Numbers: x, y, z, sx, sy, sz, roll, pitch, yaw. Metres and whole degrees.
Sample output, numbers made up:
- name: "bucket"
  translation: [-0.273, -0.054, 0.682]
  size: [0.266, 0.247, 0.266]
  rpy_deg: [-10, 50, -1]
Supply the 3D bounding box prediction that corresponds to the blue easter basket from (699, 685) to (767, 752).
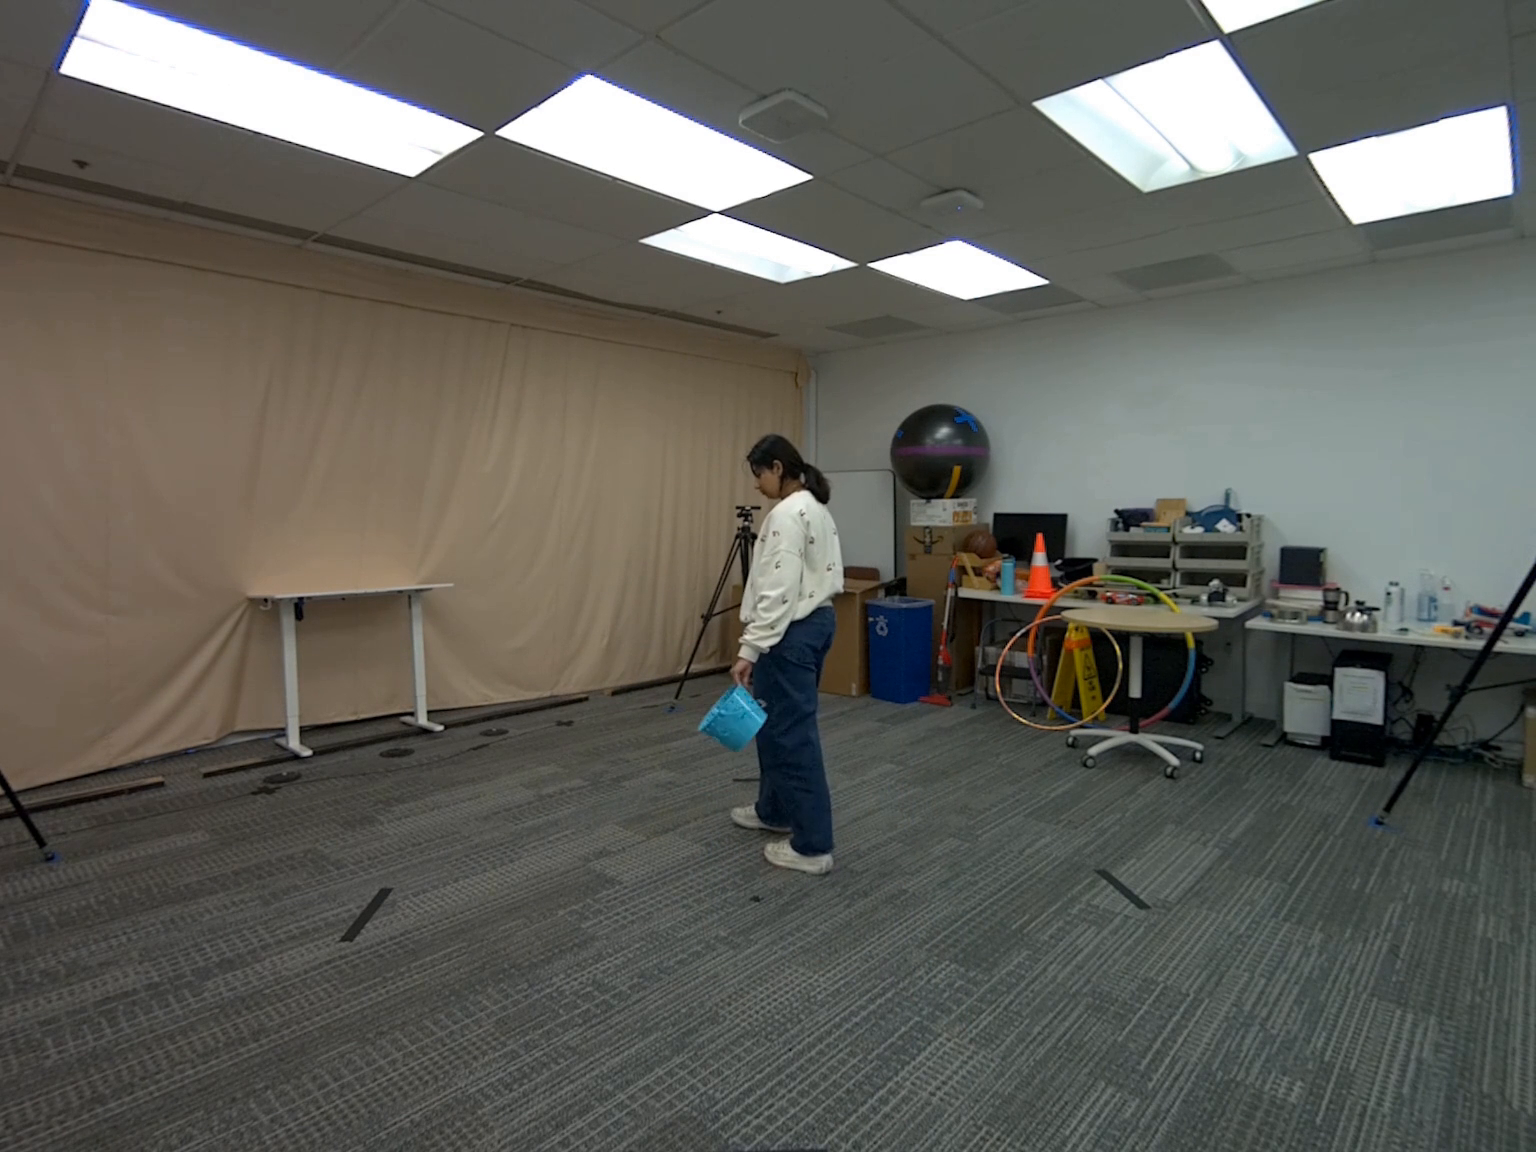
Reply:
- name: "blue easter basket"
  translation: [-0.108, 0.499, 3.024]
  size: [0.156, 0.244, 0.243]
  rpy_deg: [41, 5, 0]
